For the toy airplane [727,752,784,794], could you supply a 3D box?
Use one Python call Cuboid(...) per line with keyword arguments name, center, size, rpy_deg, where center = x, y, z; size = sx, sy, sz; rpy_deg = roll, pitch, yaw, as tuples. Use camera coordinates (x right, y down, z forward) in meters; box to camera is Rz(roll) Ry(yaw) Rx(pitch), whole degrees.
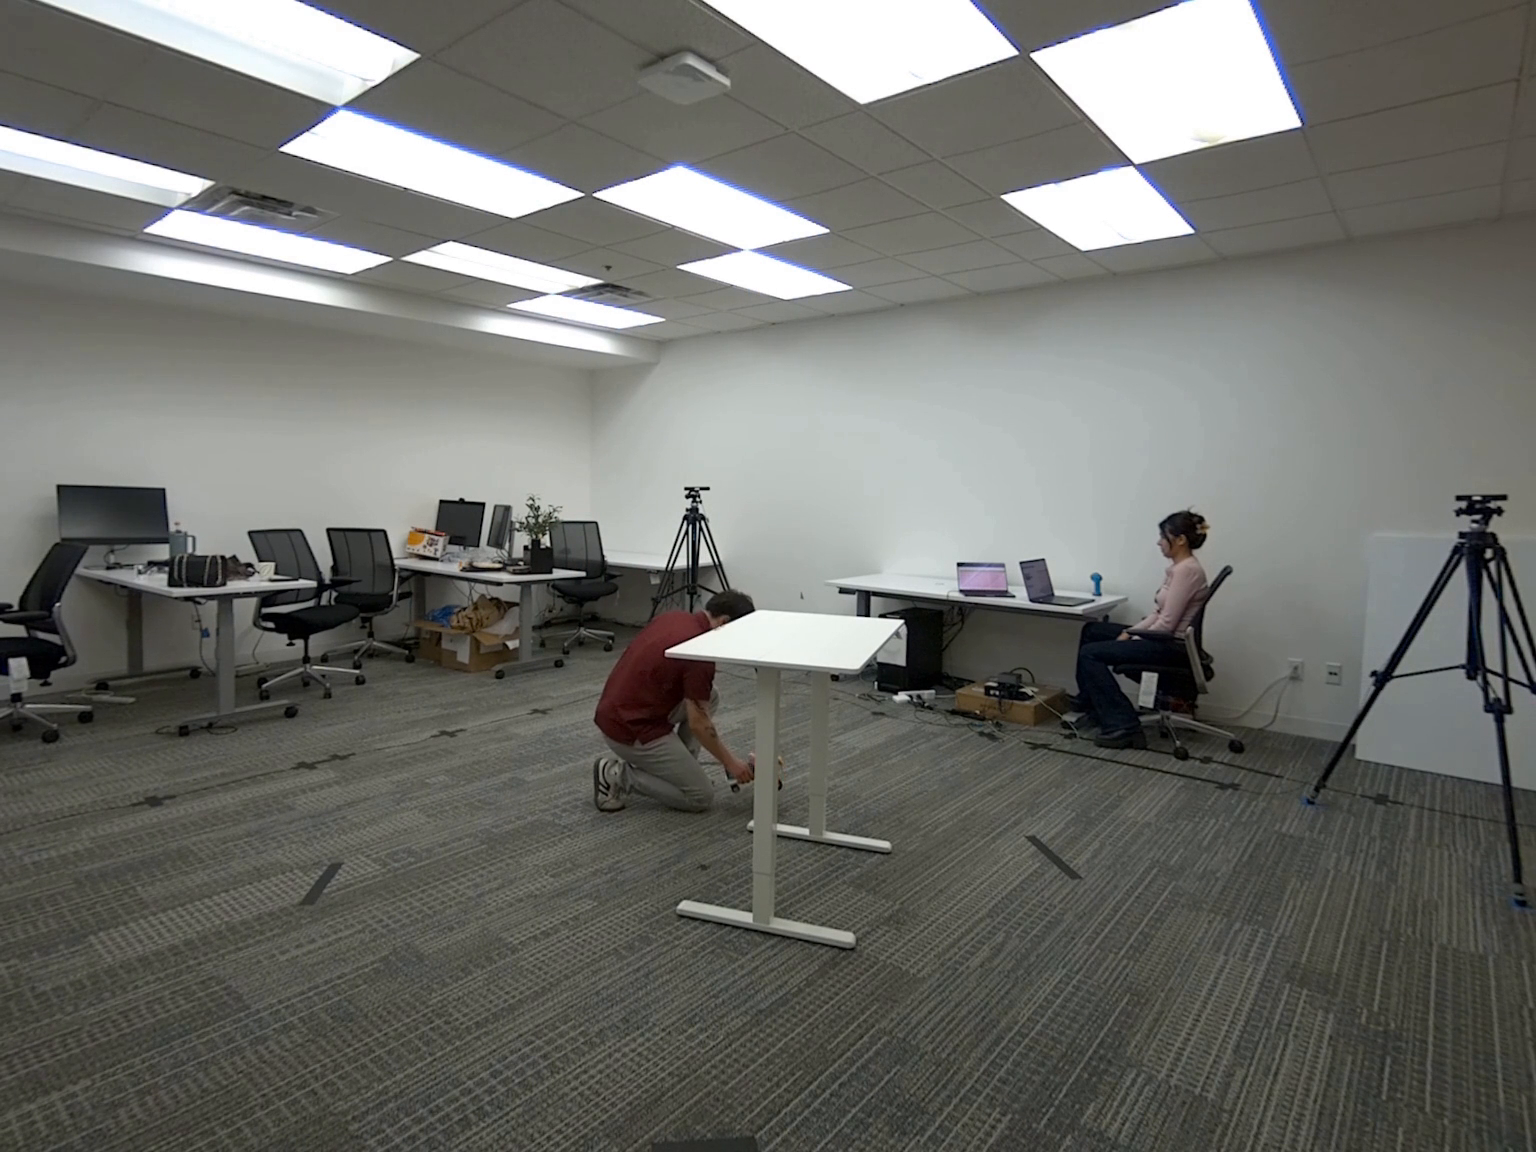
Cuboid(name="toy airplane", center=(-0.066, 0.868, 3.729), size=(0.252, 0.156, 0.259), rpy_deg=(-5, 5, -34))
